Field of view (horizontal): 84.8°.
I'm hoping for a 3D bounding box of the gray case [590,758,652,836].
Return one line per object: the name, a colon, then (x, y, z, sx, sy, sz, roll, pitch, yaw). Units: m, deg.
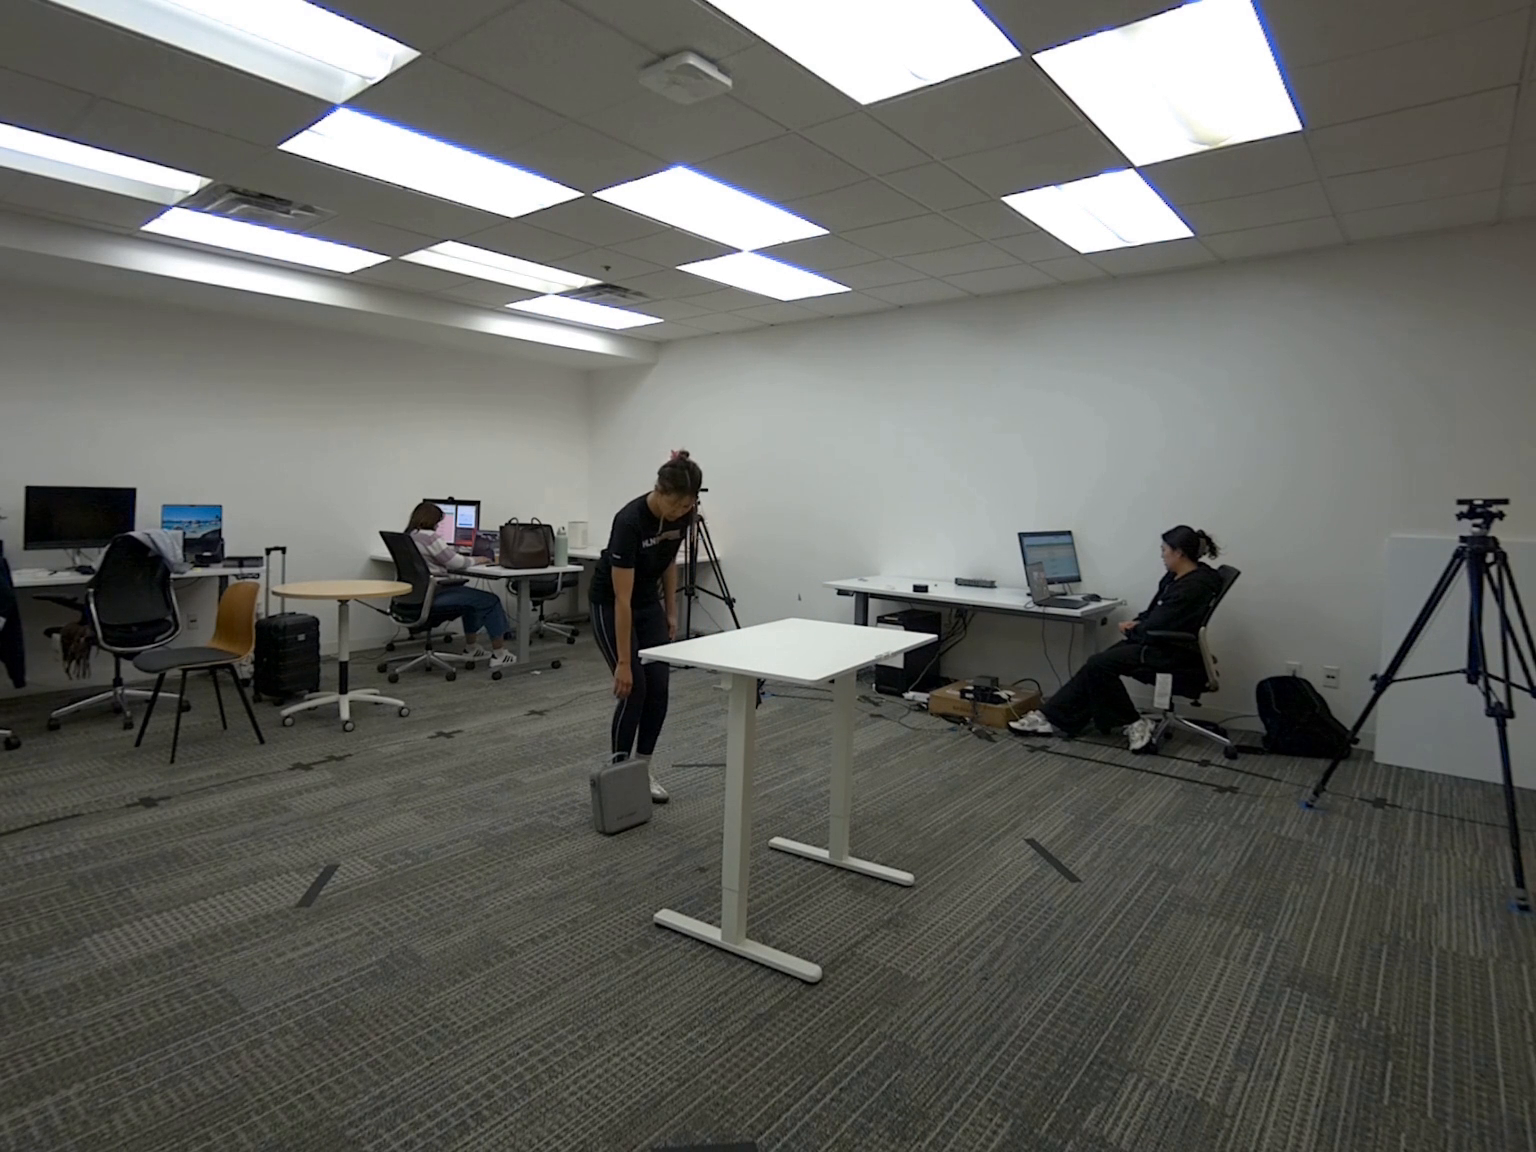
gray case: (-0.620, 0.896, 3.500, 0.107, 0.262, 0.249, -10, -5, 43)
